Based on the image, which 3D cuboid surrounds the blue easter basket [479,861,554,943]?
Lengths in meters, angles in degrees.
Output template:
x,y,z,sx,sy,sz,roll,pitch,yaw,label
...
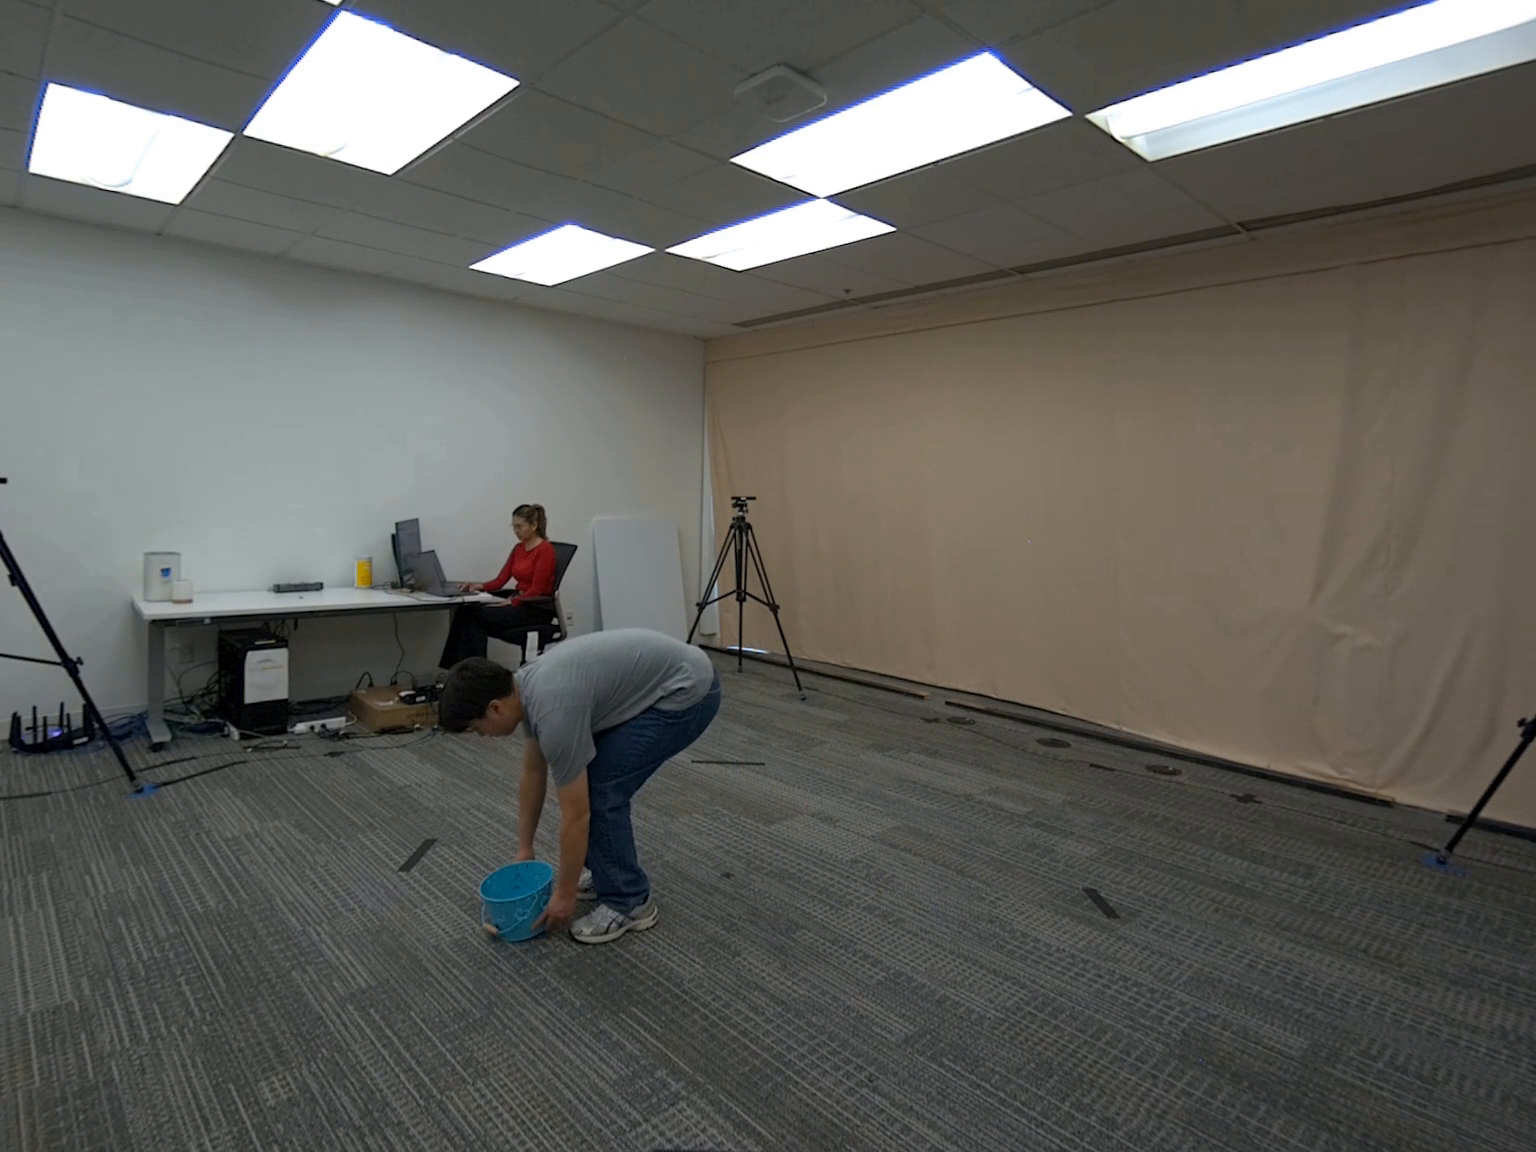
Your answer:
x,y,z,sx,sy,sz,roll,pitch,yaw,label
-0.792,1.036,2.691,0.243,0.155,0.245,-4,9,-1,blue easter basket
